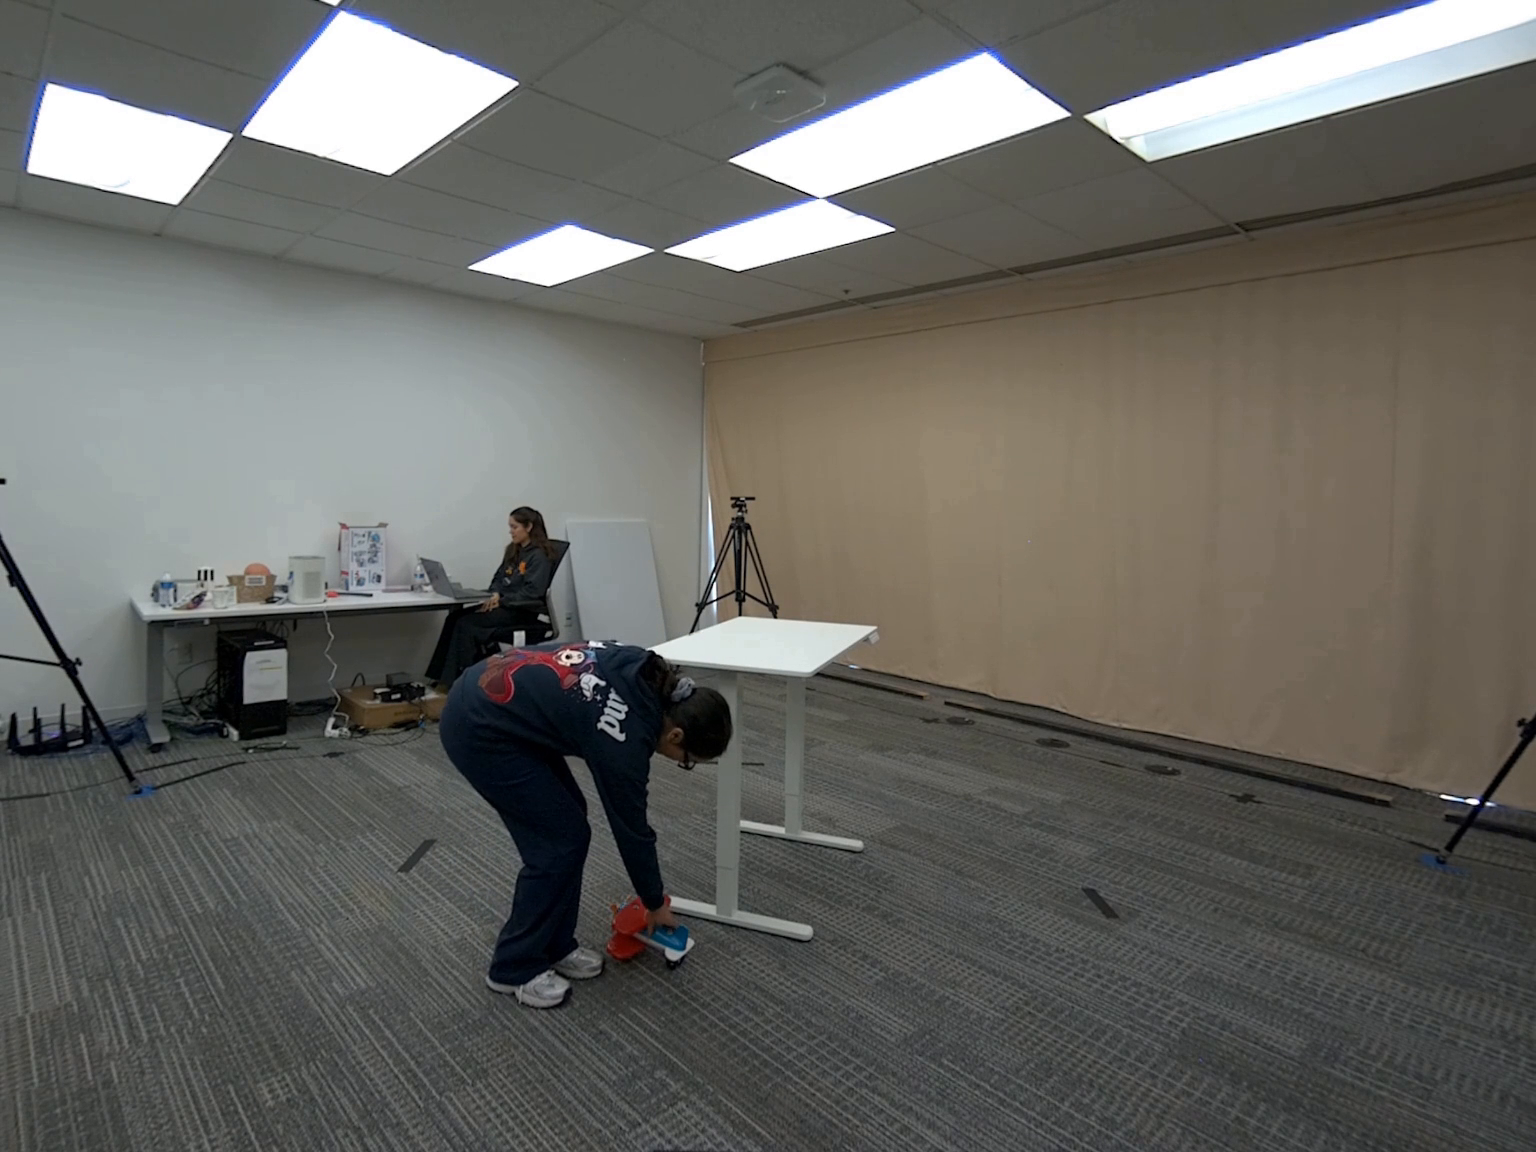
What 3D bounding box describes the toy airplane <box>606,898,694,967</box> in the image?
[{"bbox_3d":[-0.354,1.085,2.558,0.259,0.156,0.252,1,4,-2],"label":"toy airplane"}]
